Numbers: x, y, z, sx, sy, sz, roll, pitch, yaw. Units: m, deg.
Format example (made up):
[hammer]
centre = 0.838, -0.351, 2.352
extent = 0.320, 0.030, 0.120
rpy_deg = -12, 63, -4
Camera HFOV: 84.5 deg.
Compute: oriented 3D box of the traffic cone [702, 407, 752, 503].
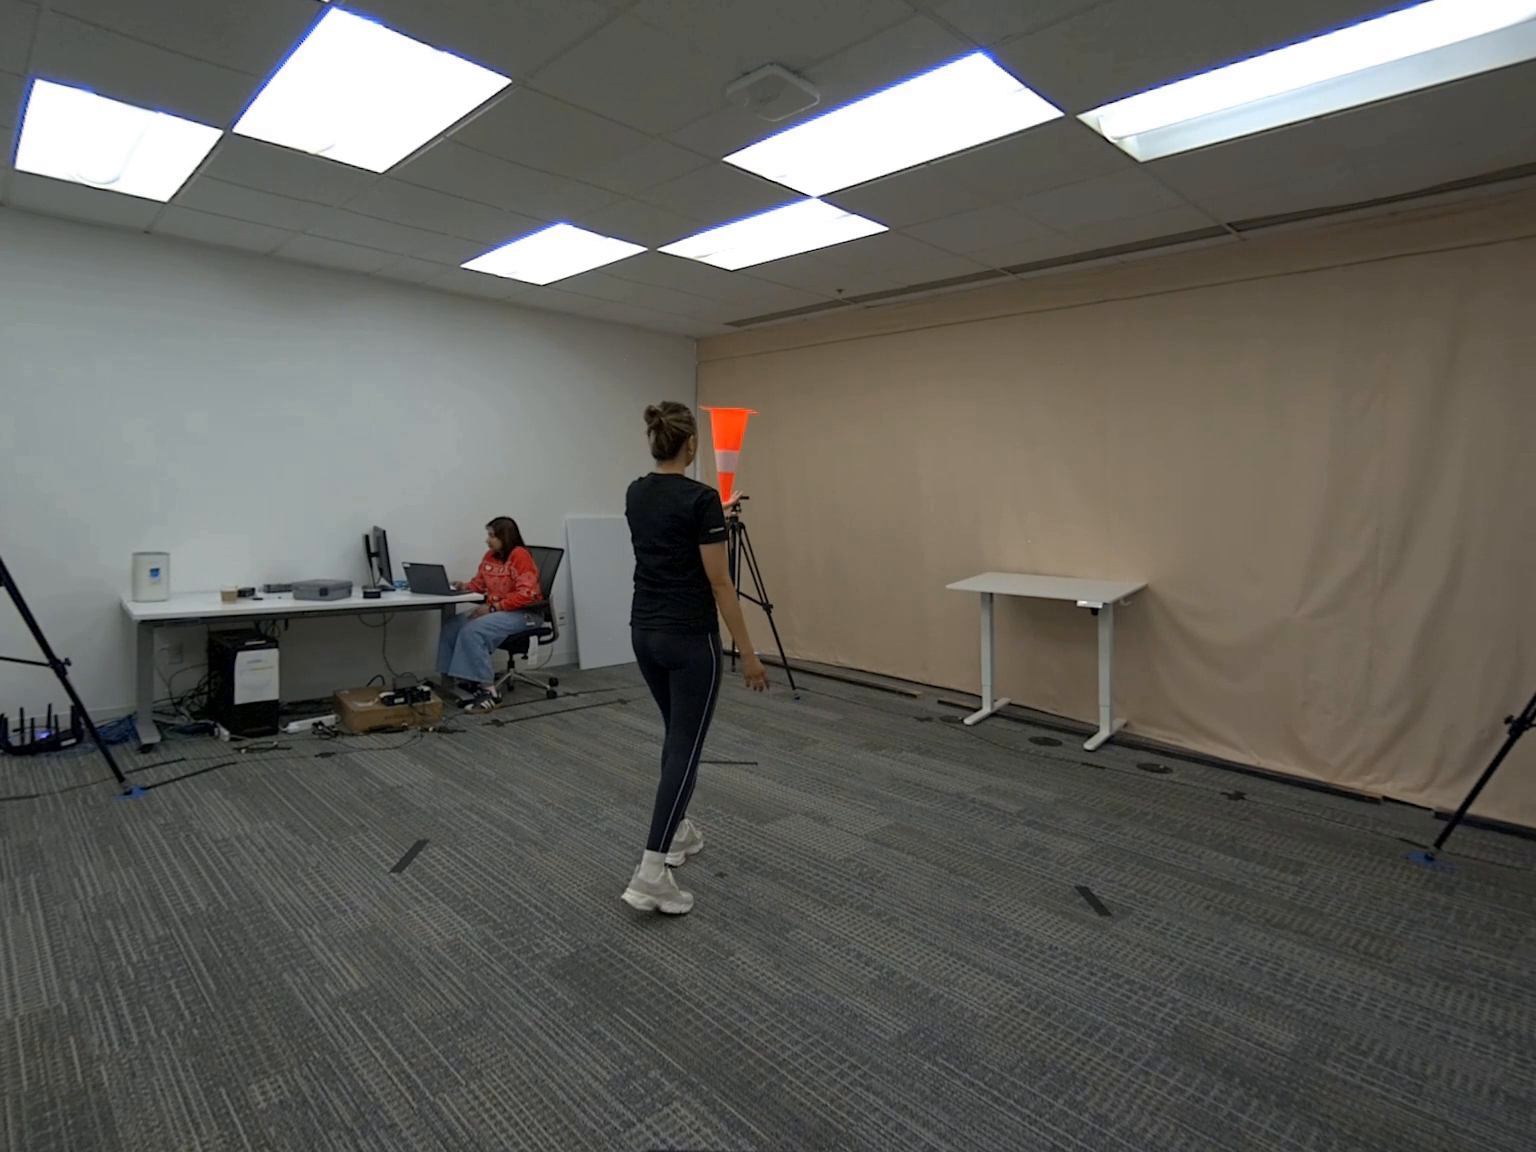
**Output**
[traffic cone]
centre = -0.177, -0.500, 3.485
extent = 0.207, 0.382, 0.201
rpy_deg = 5, 5, 26
